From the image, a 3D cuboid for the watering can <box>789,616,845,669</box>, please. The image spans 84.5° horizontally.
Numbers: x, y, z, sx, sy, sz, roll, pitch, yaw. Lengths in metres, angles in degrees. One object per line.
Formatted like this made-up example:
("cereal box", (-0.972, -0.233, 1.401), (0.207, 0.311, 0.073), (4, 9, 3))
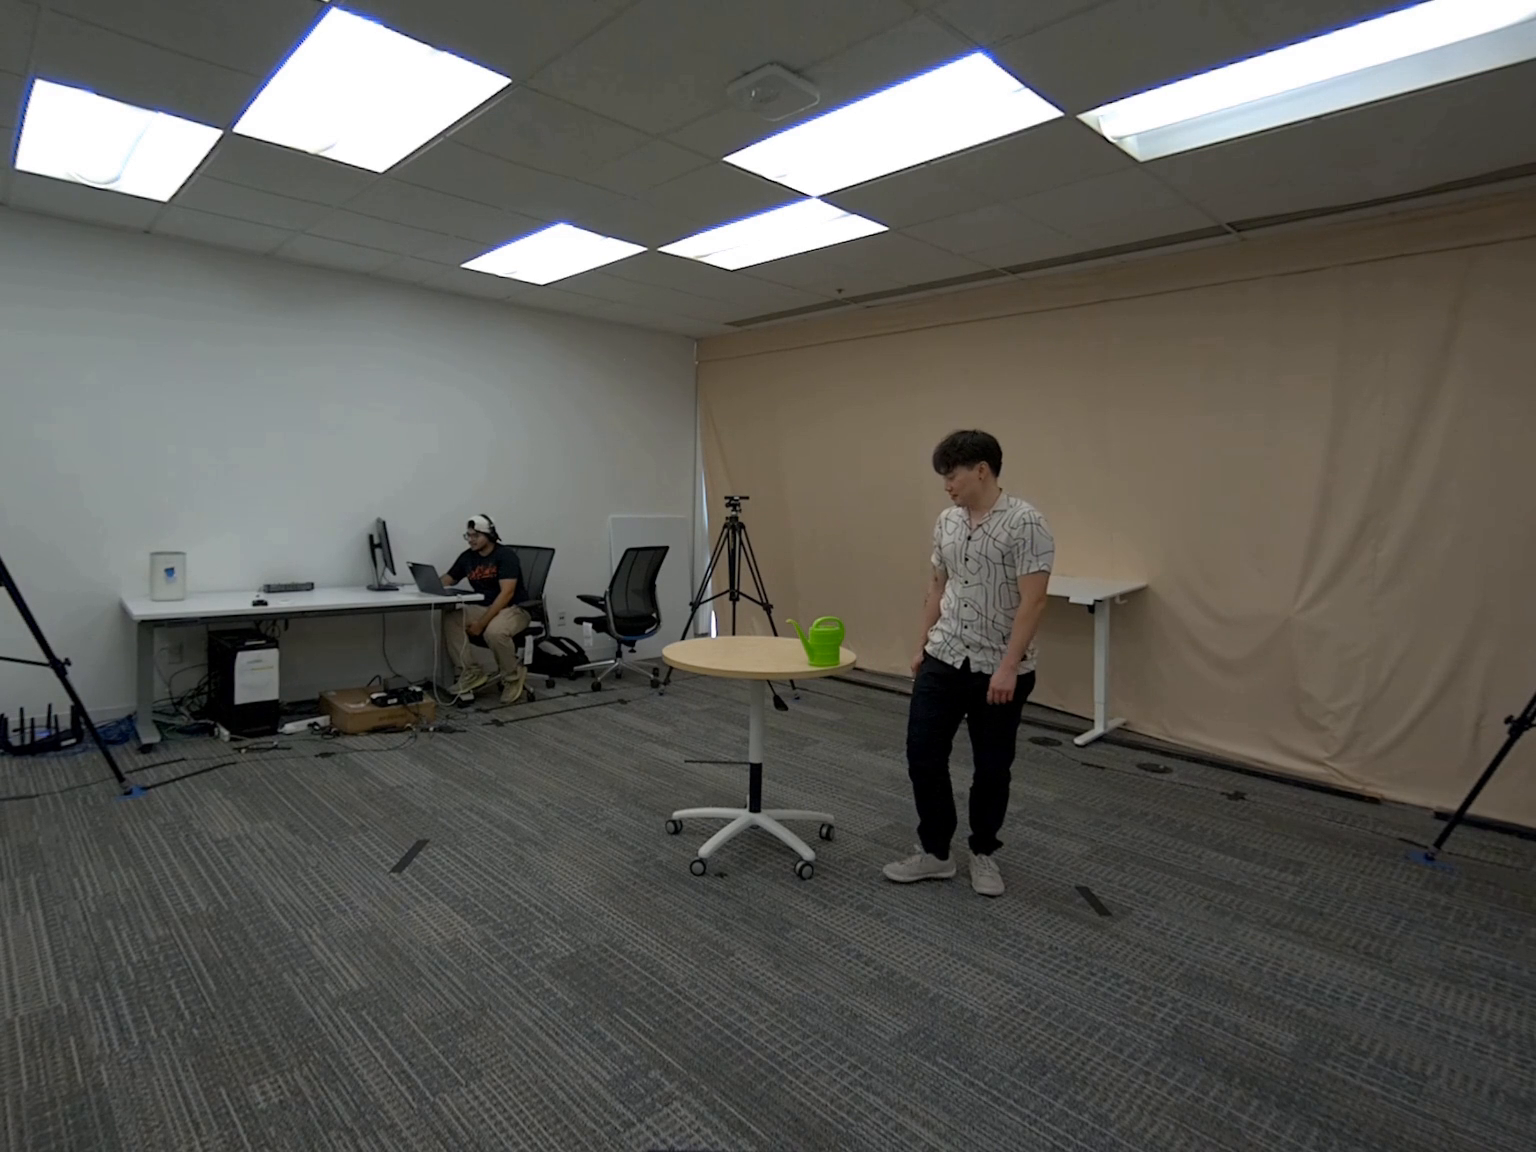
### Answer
("watering can", (0.166, 0.240, 3.102), (0.273, 0.177, 0.100), (2, 0, -24))
